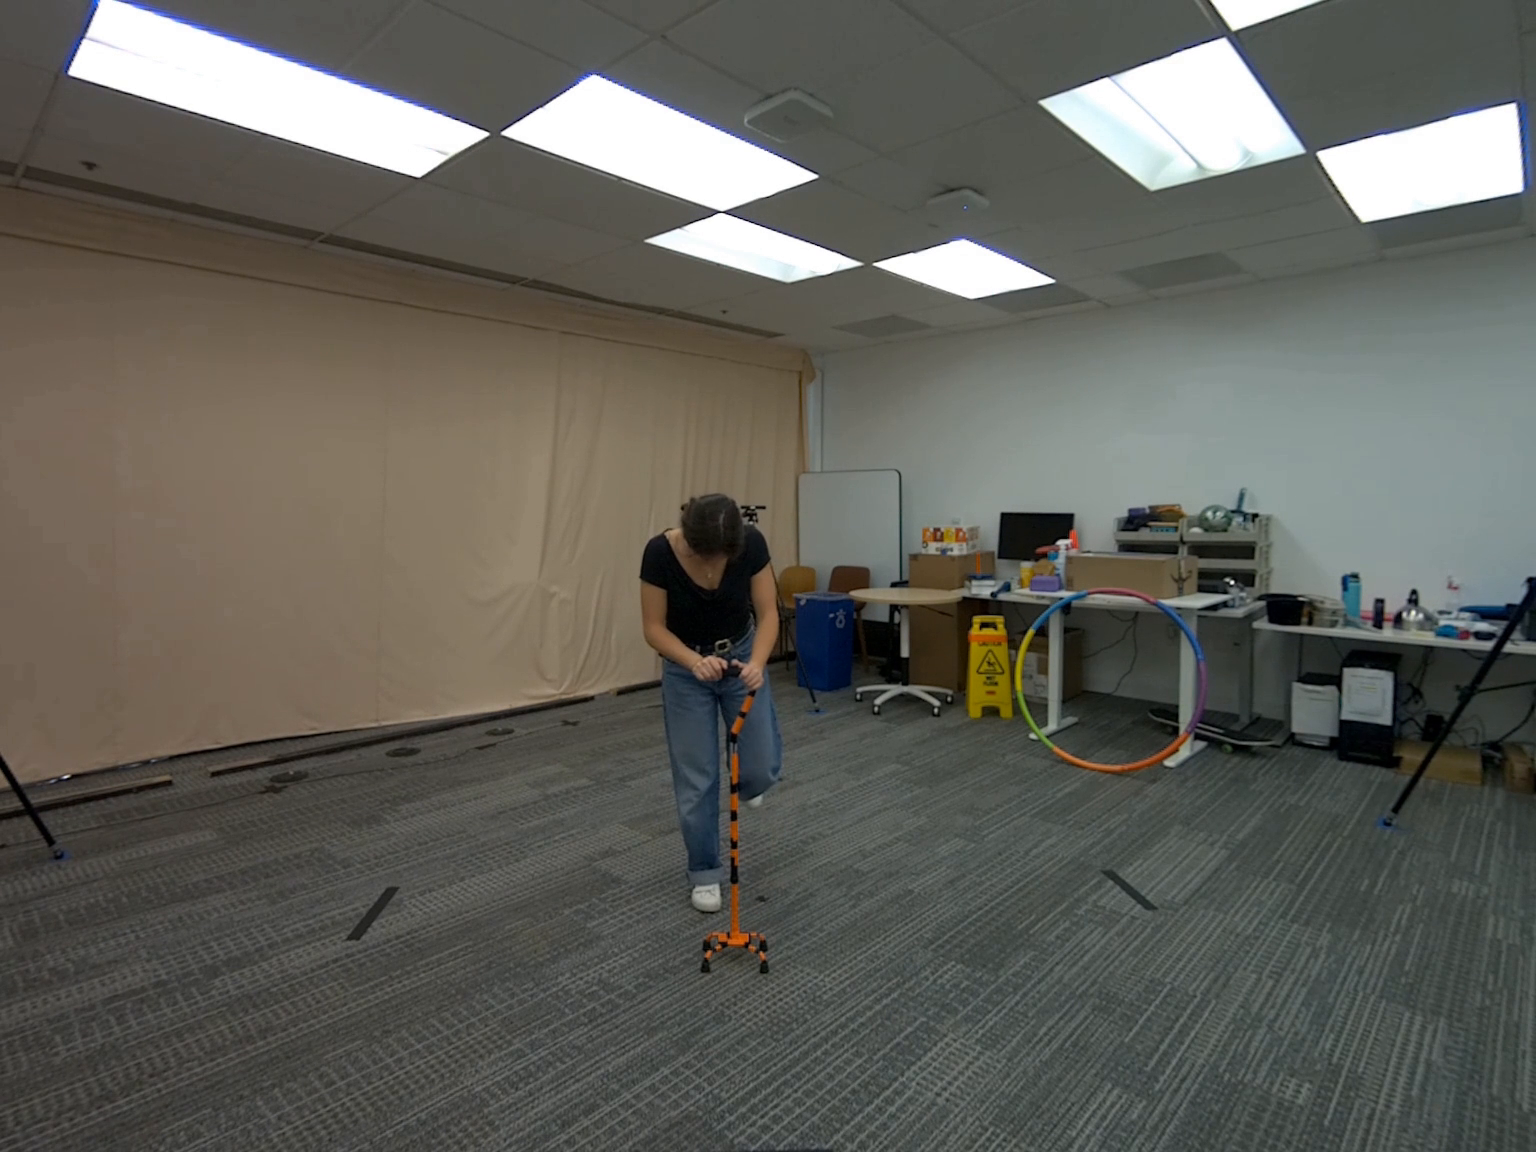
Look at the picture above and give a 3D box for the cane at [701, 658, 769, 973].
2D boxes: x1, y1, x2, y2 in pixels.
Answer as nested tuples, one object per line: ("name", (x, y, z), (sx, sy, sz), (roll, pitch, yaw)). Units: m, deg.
("cane", (-0.100, 0.719, 2.550), (0.207, 0.906, 0.152), (0, 4, 0))
